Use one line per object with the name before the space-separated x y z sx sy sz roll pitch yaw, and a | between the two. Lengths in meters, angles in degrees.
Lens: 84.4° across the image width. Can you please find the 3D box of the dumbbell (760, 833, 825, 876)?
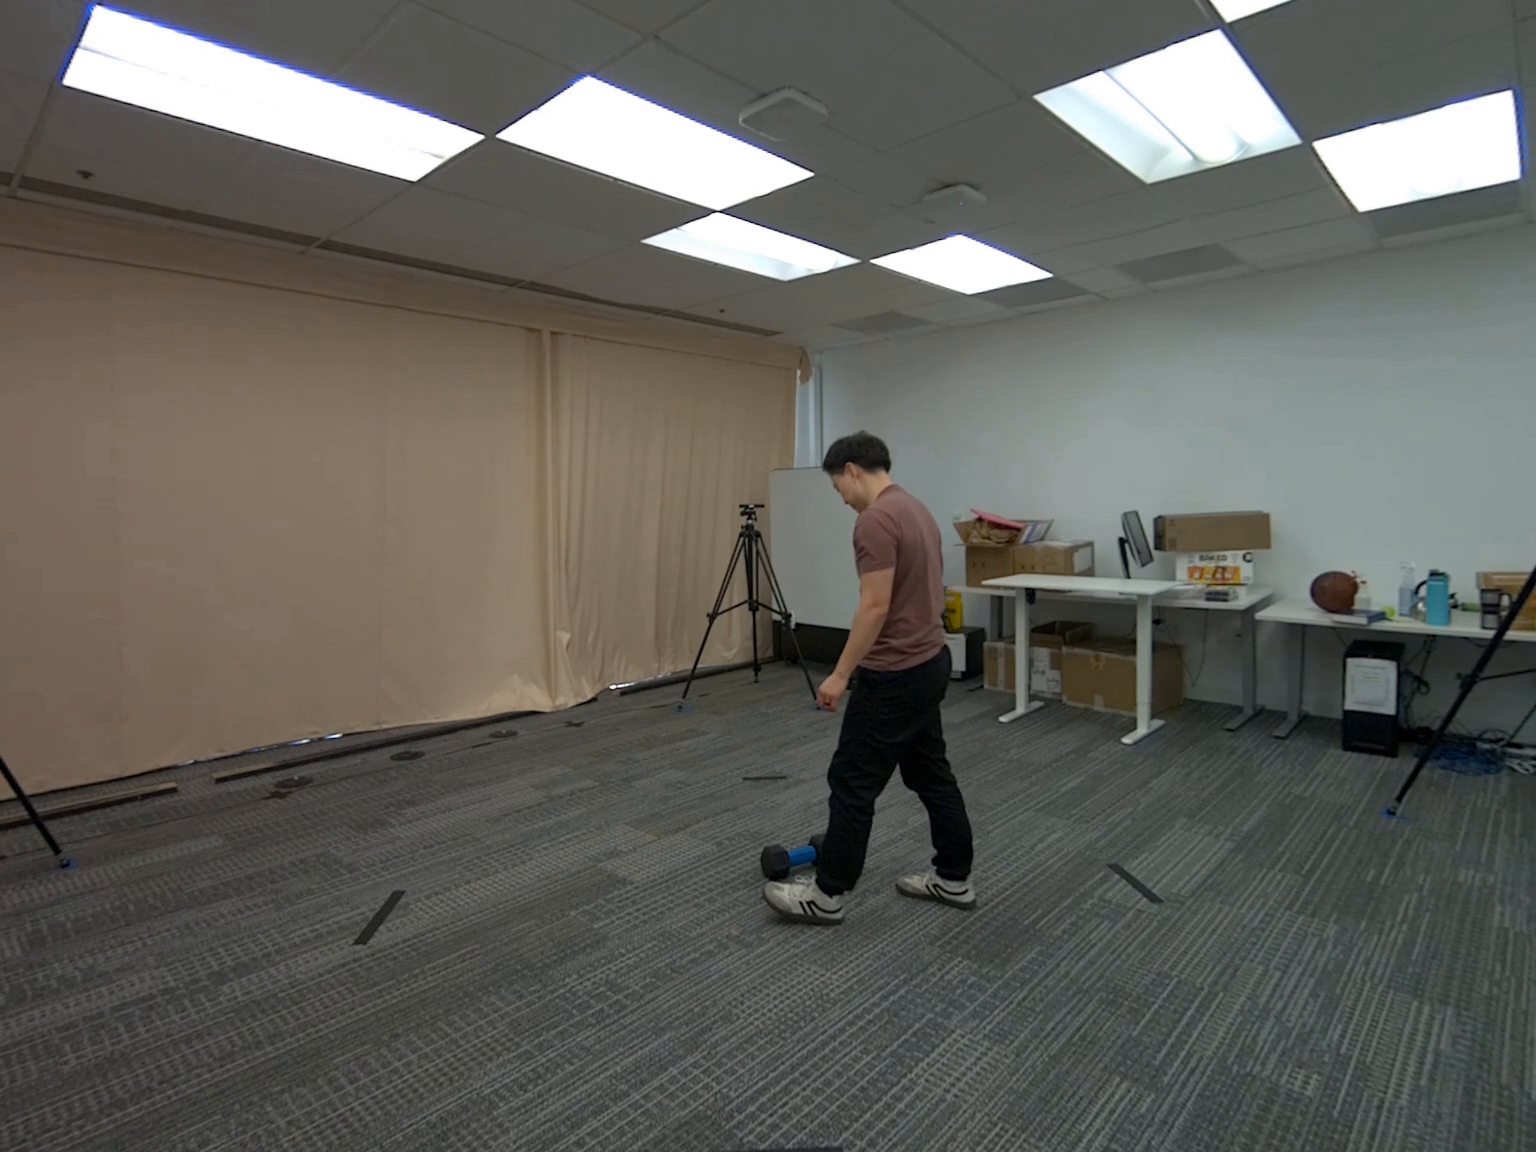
dumbbell | 0.125 1.065 3.192 0.287 0.125 0.109 -4 -26 -25
